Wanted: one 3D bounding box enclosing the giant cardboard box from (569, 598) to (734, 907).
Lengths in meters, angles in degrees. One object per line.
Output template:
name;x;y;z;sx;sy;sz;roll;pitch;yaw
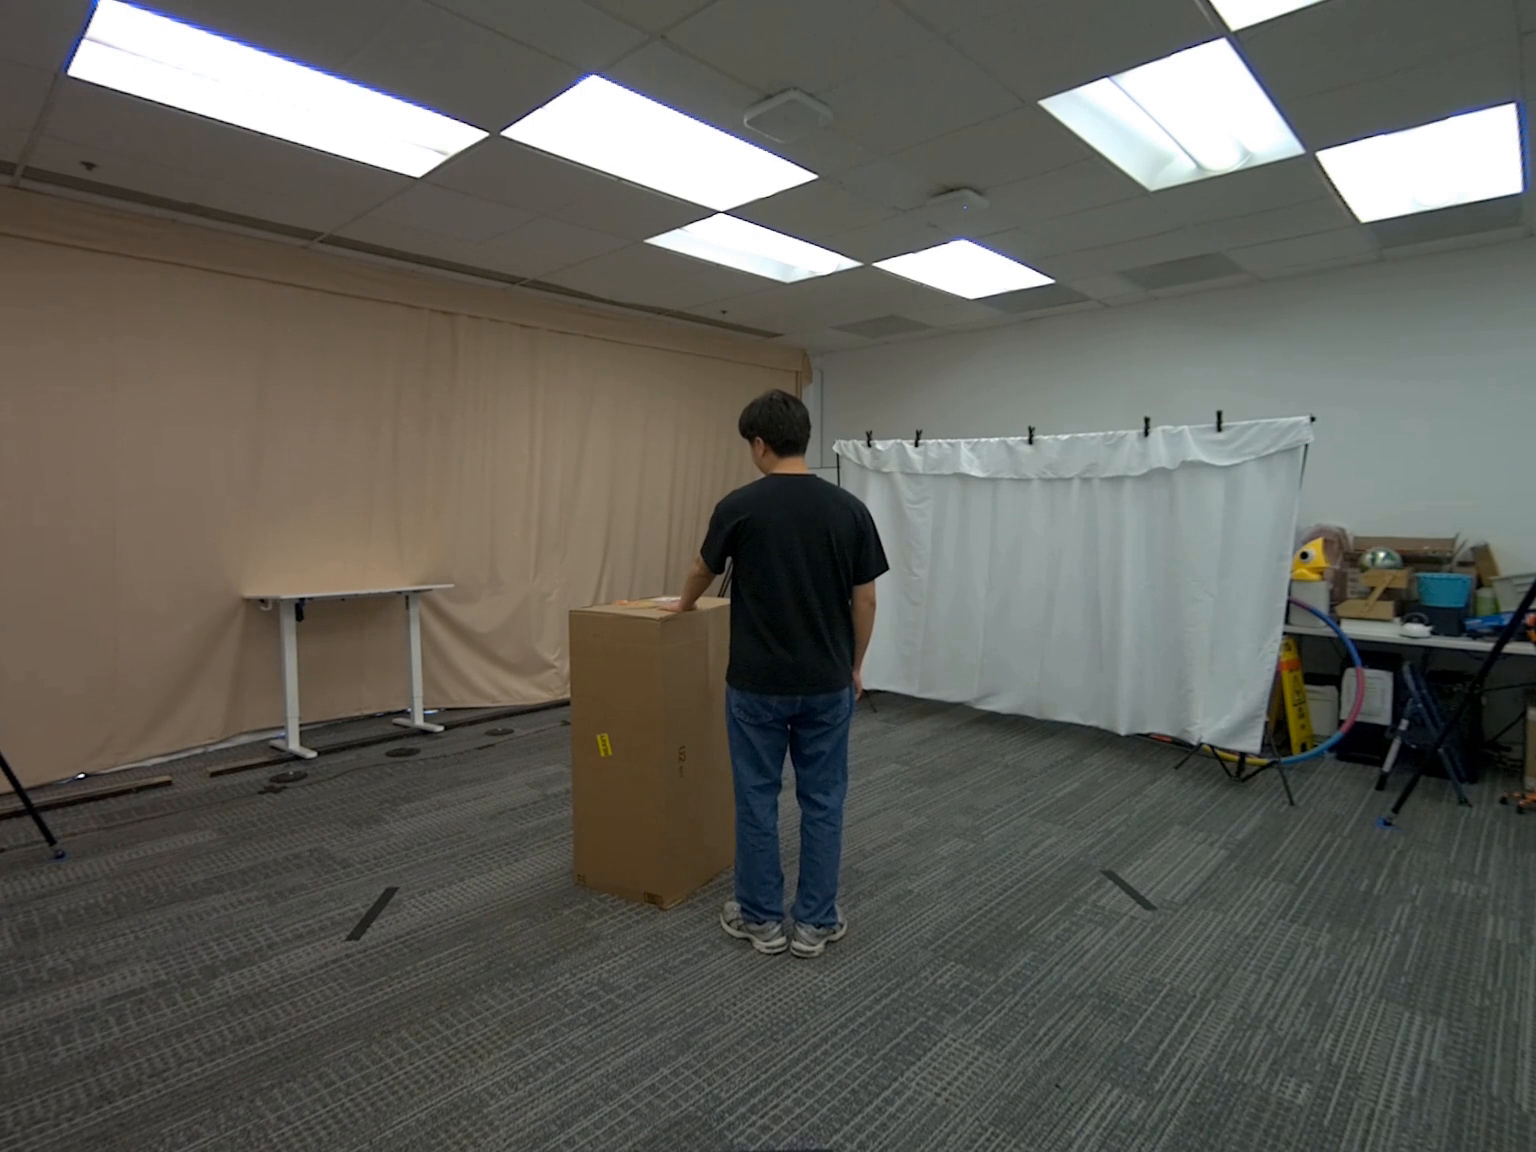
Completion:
giant cardboard box;-0.404;0.614;3.225;0.460;1.025;0.568;1;3;32
